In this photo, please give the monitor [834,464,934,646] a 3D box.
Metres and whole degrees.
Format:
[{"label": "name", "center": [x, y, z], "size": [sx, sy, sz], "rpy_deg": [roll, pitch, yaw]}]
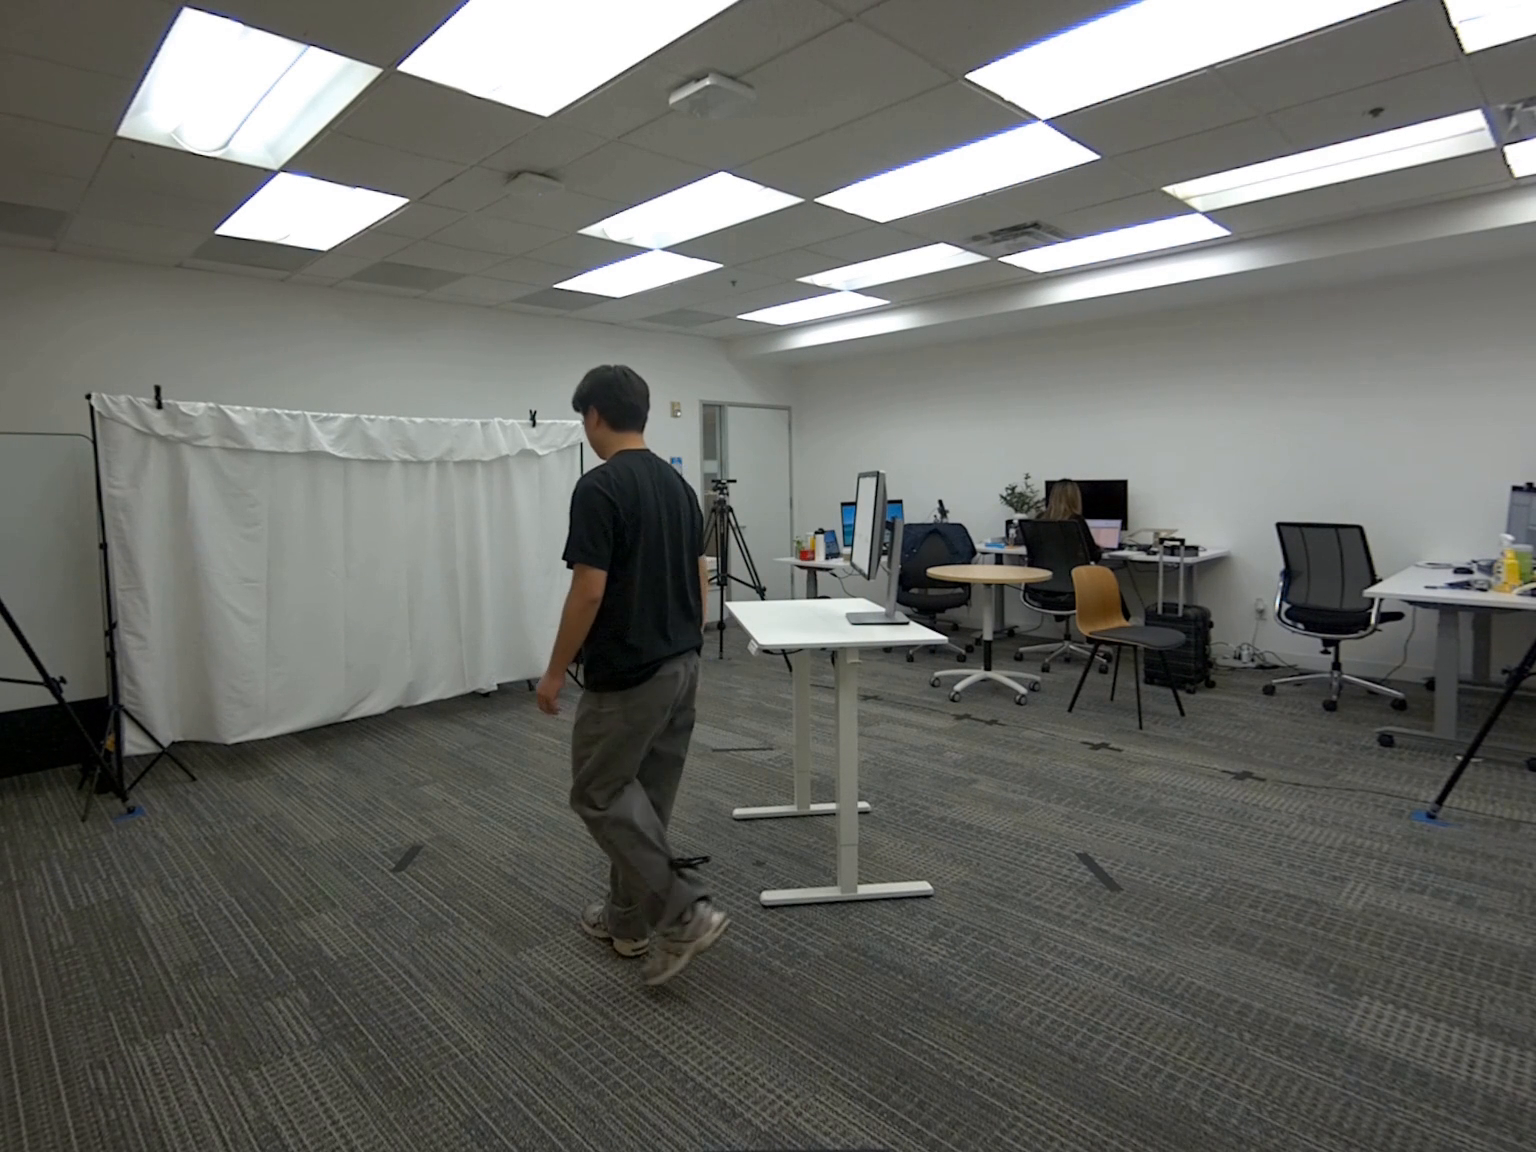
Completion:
[{"label": "monitor", "center": [0.397, -0.095, 3.067], "size": [0.223, 0.564, 0.562], "rpy_deg": [-8, 4, 3]}]
